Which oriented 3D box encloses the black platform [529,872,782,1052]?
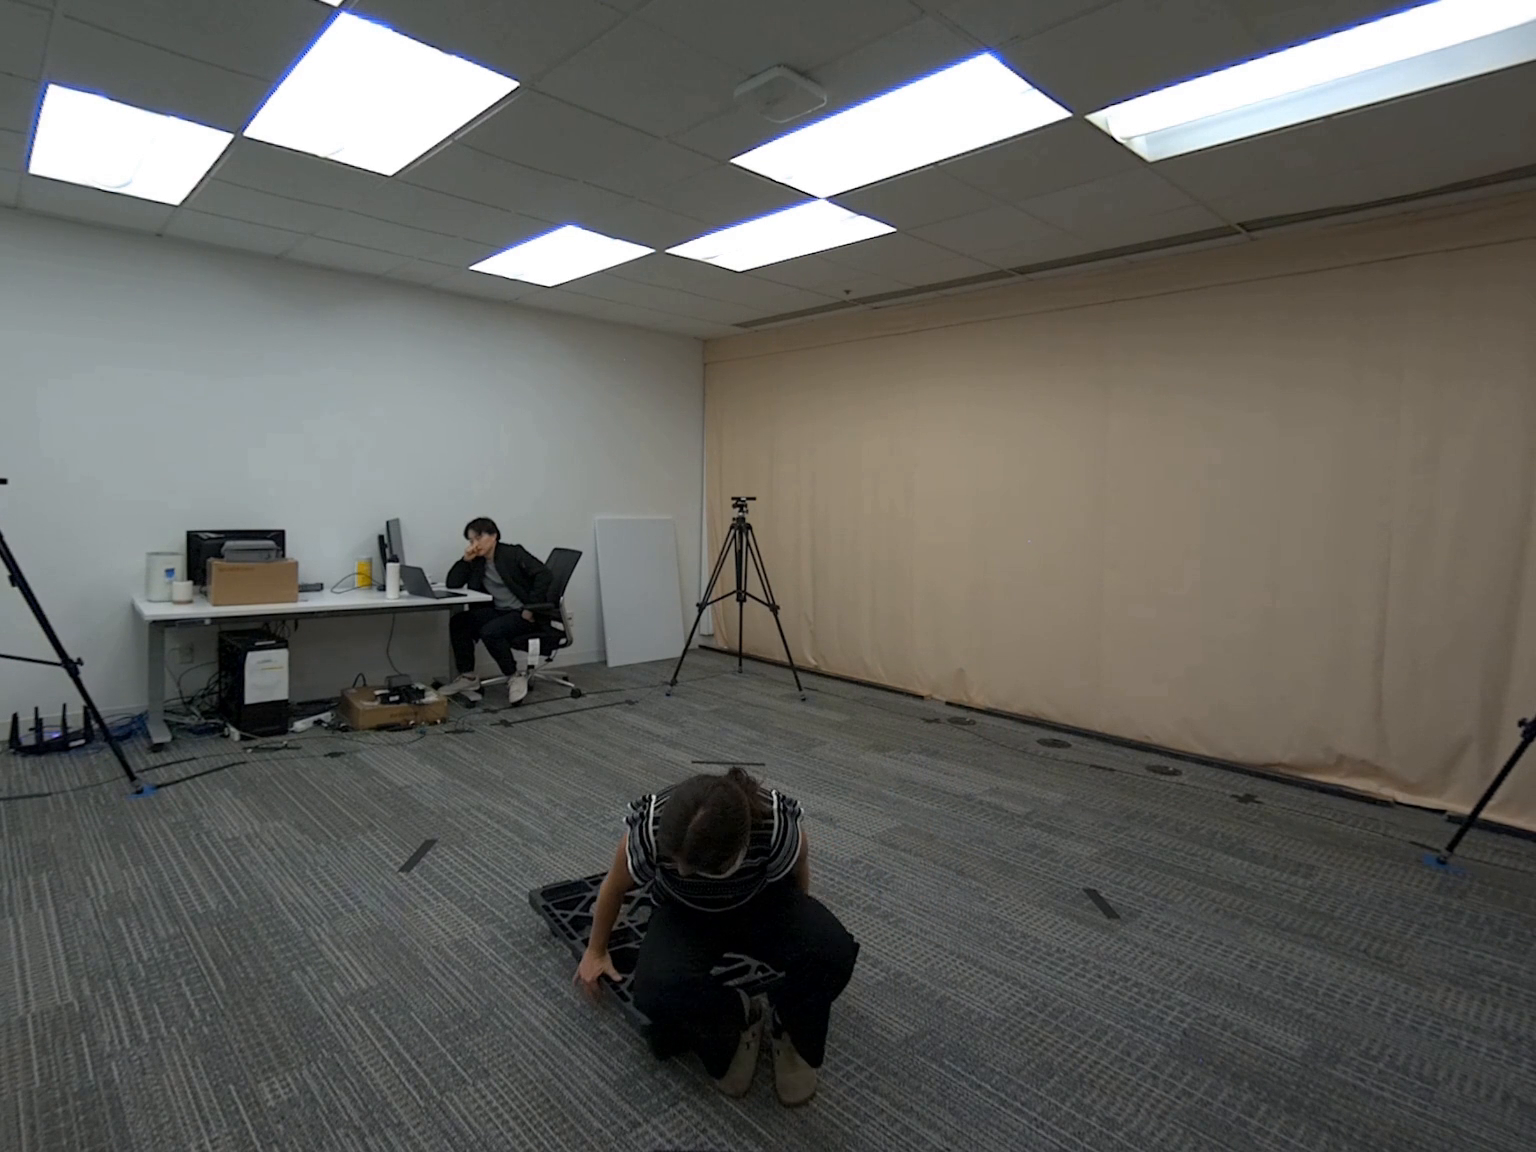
[{"bbox_3d":[-0.298,1.094,2.498,0.592,0.143,0.825,-4,7,-35],"label":"black platform"}]
